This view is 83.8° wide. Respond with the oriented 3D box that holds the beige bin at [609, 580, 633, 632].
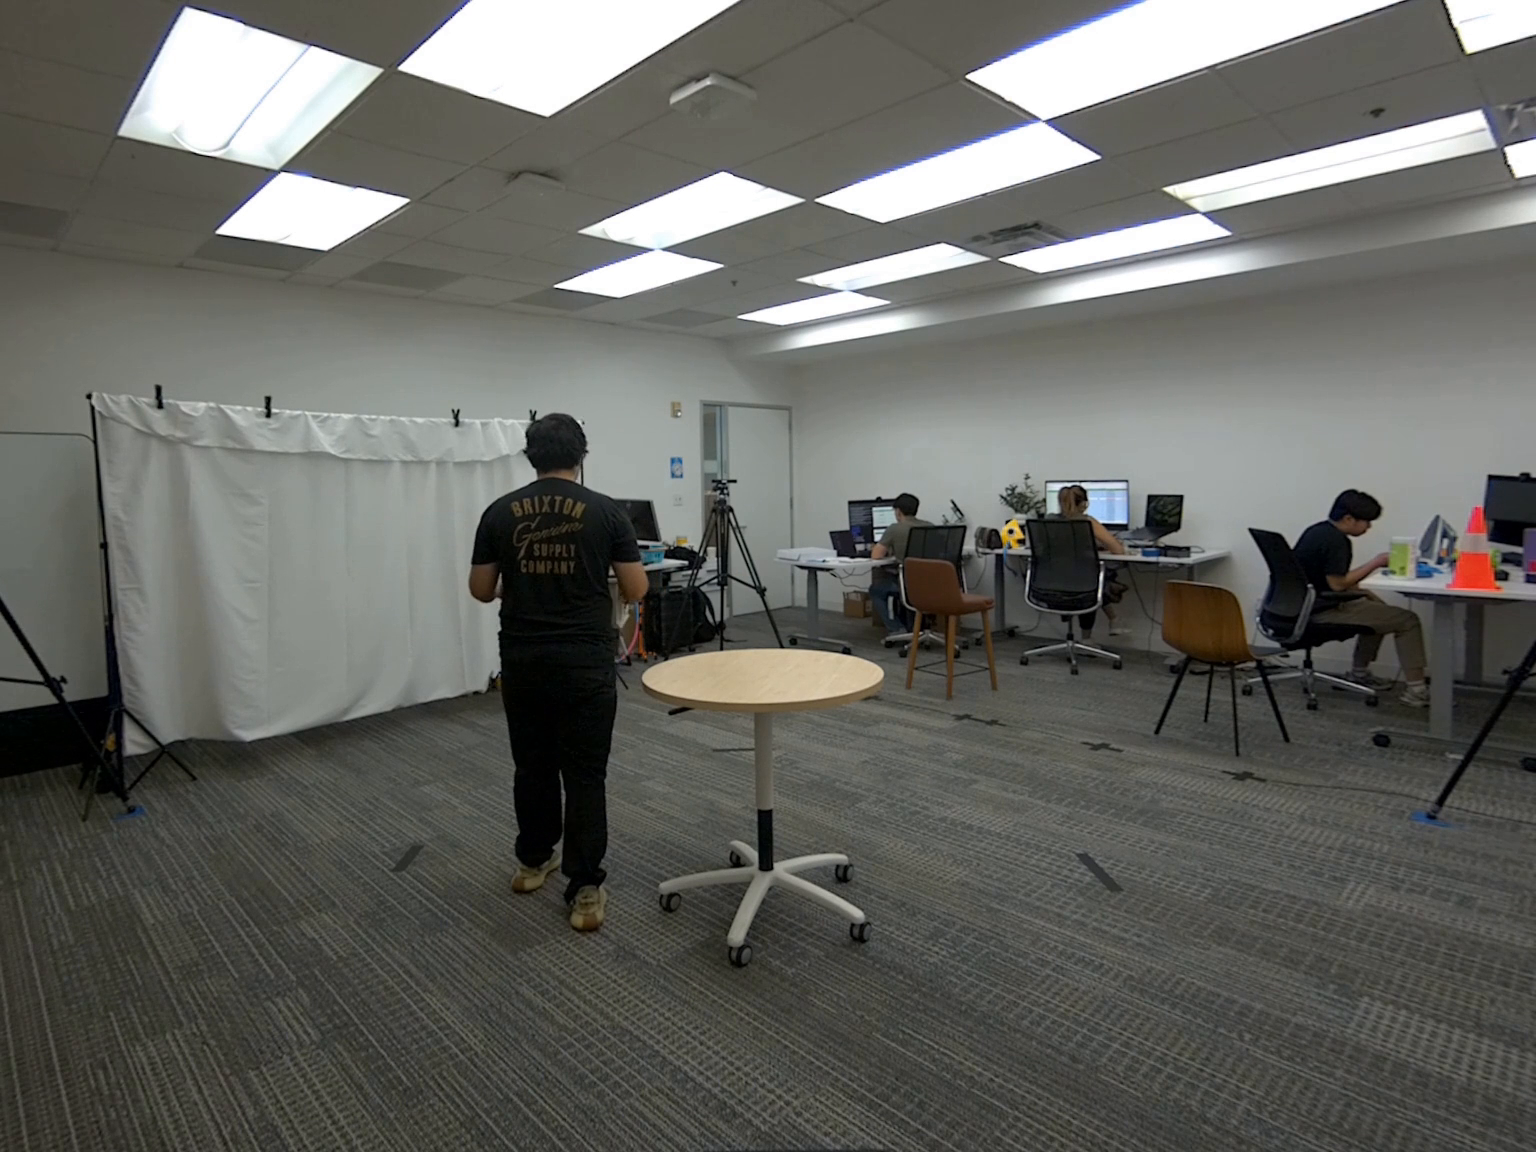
[{"bbox_3d":[-0.743,0.089,3.235,0.421,0.188,0.380,-2,4,-5],"label":"beige bin"}]
